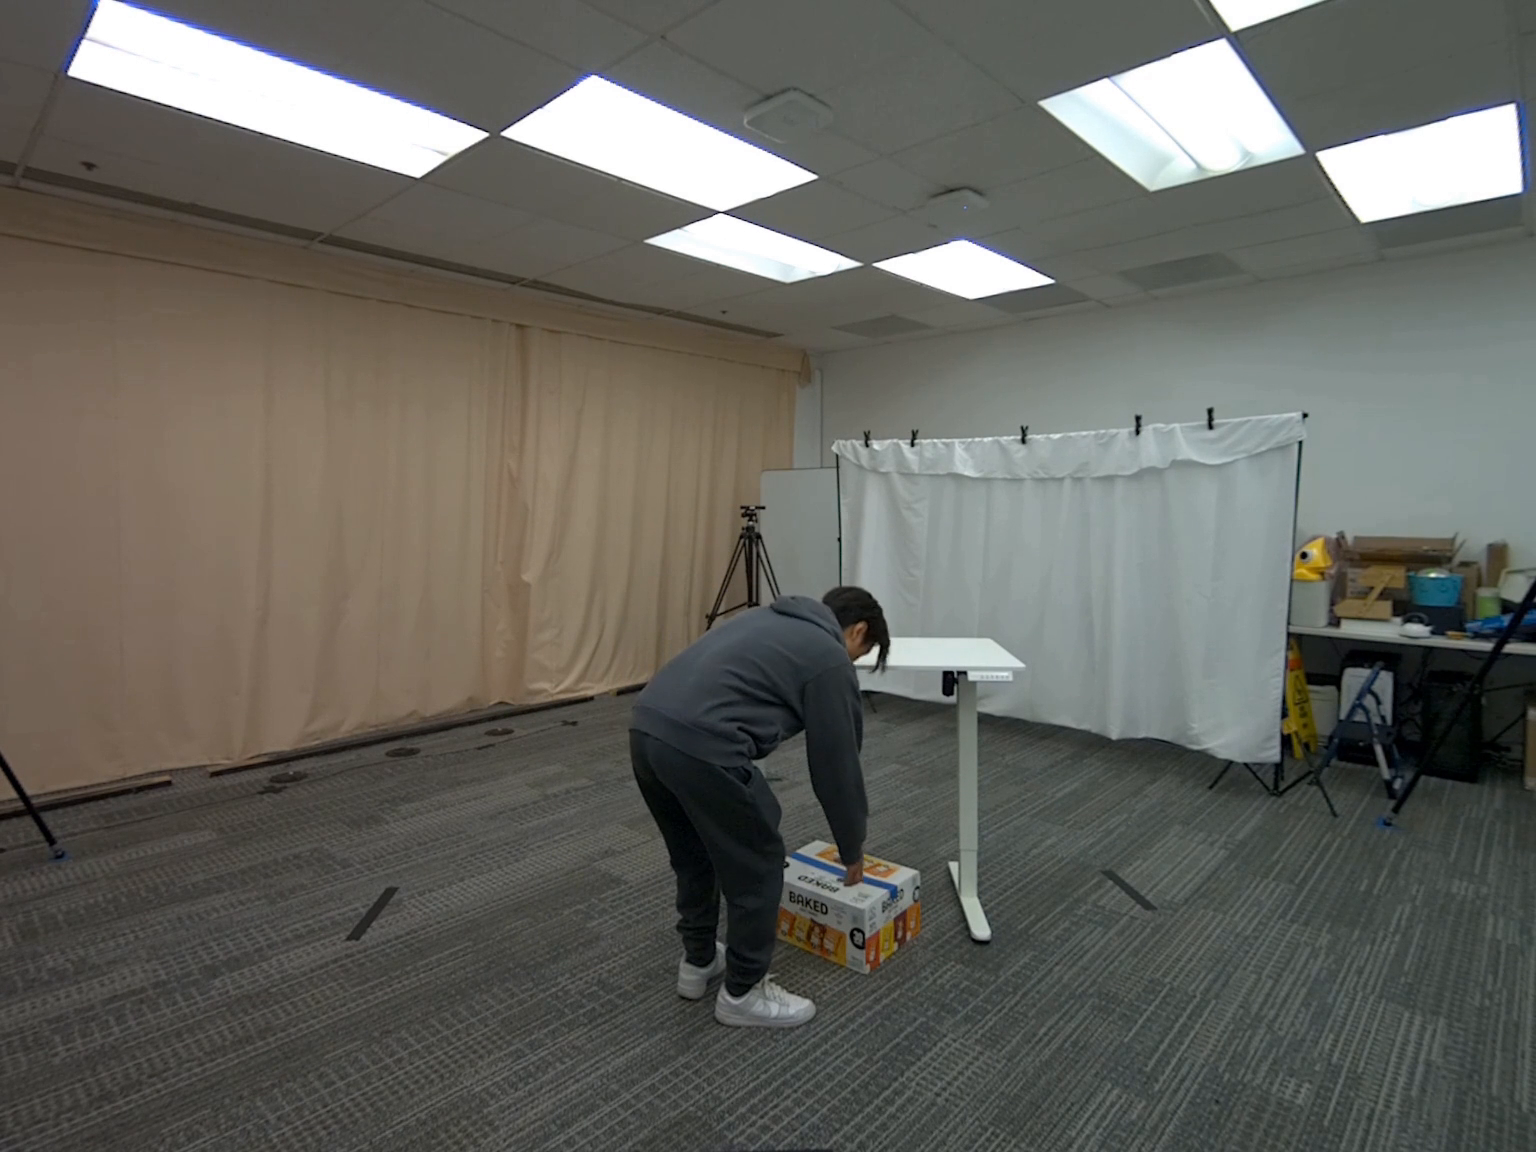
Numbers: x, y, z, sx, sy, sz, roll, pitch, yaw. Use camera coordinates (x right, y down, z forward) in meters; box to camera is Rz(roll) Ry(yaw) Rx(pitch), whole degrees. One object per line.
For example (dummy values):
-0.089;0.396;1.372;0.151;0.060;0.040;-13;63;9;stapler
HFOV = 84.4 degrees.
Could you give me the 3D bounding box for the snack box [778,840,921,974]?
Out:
0.234;1.064;2.741;0.418;0.205;0.330;3;5;39;snack box
